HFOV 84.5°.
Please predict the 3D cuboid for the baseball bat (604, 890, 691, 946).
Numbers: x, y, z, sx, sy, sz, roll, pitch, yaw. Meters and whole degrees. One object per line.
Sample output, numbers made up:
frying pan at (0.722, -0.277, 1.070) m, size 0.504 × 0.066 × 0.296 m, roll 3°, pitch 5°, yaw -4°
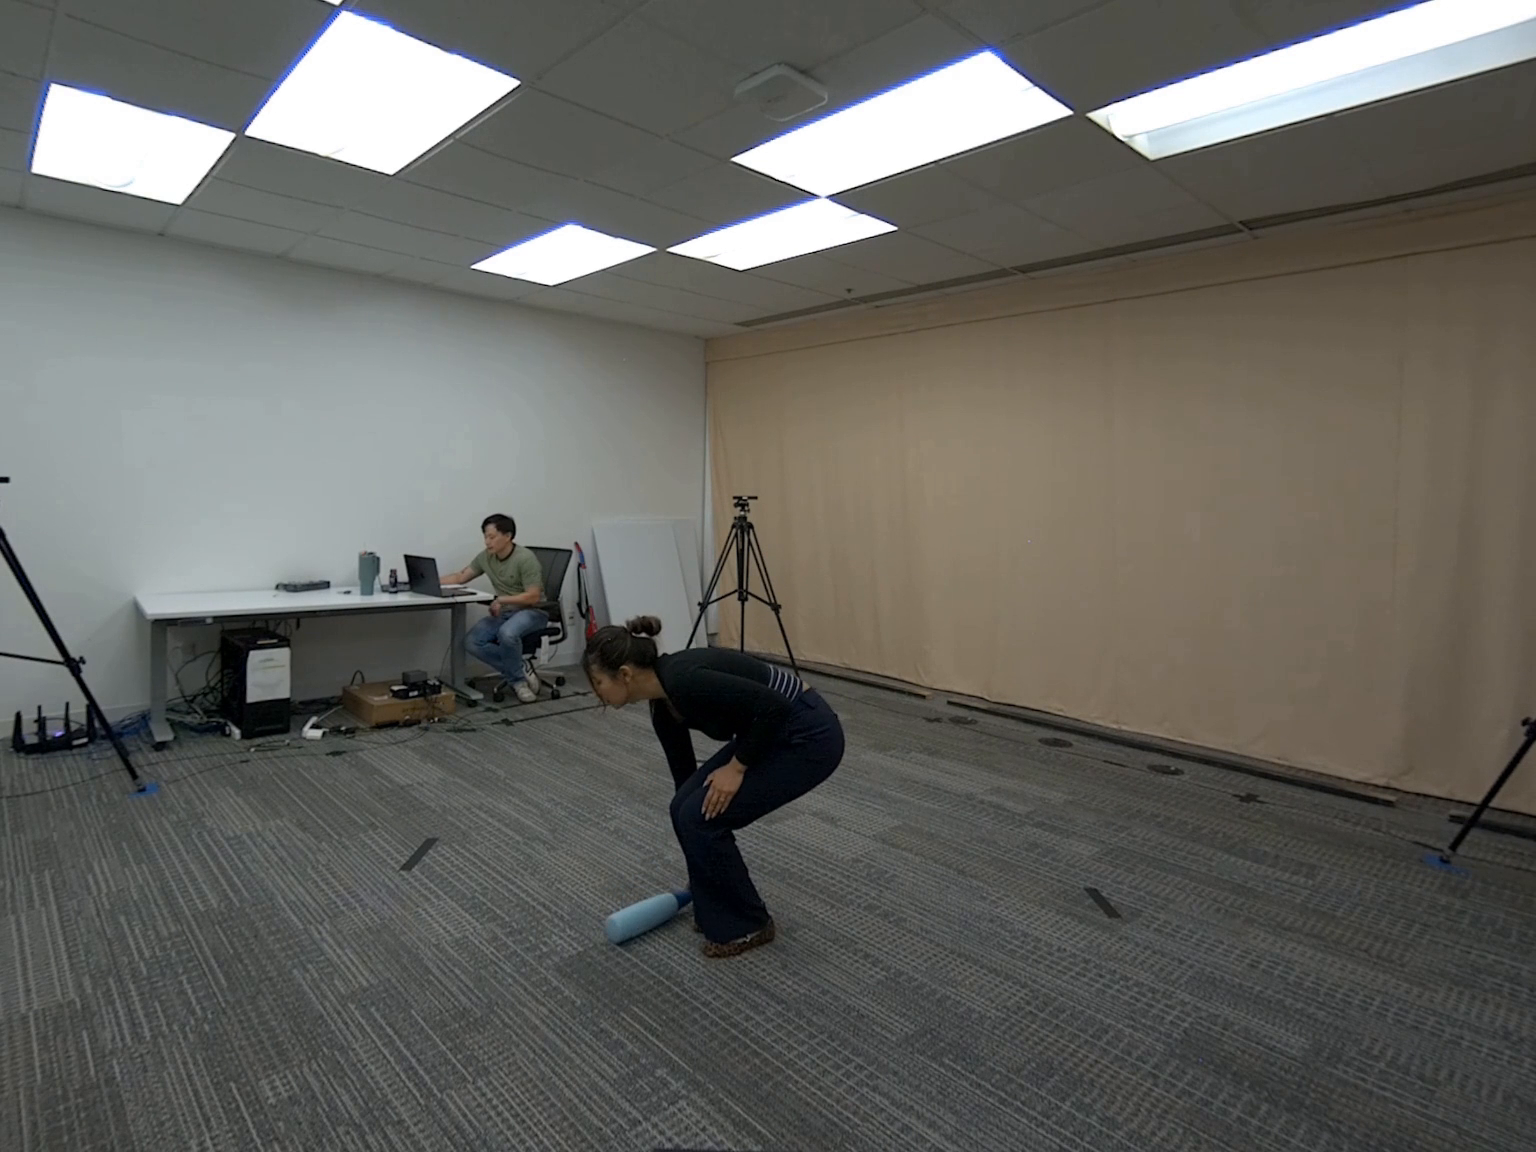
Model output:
baseball bat at (-0.309, 1.079, 2.785) m, size 0.091 × 0.089 × 0.531 m, roll 5°, pitch 7°, yaw 43°
